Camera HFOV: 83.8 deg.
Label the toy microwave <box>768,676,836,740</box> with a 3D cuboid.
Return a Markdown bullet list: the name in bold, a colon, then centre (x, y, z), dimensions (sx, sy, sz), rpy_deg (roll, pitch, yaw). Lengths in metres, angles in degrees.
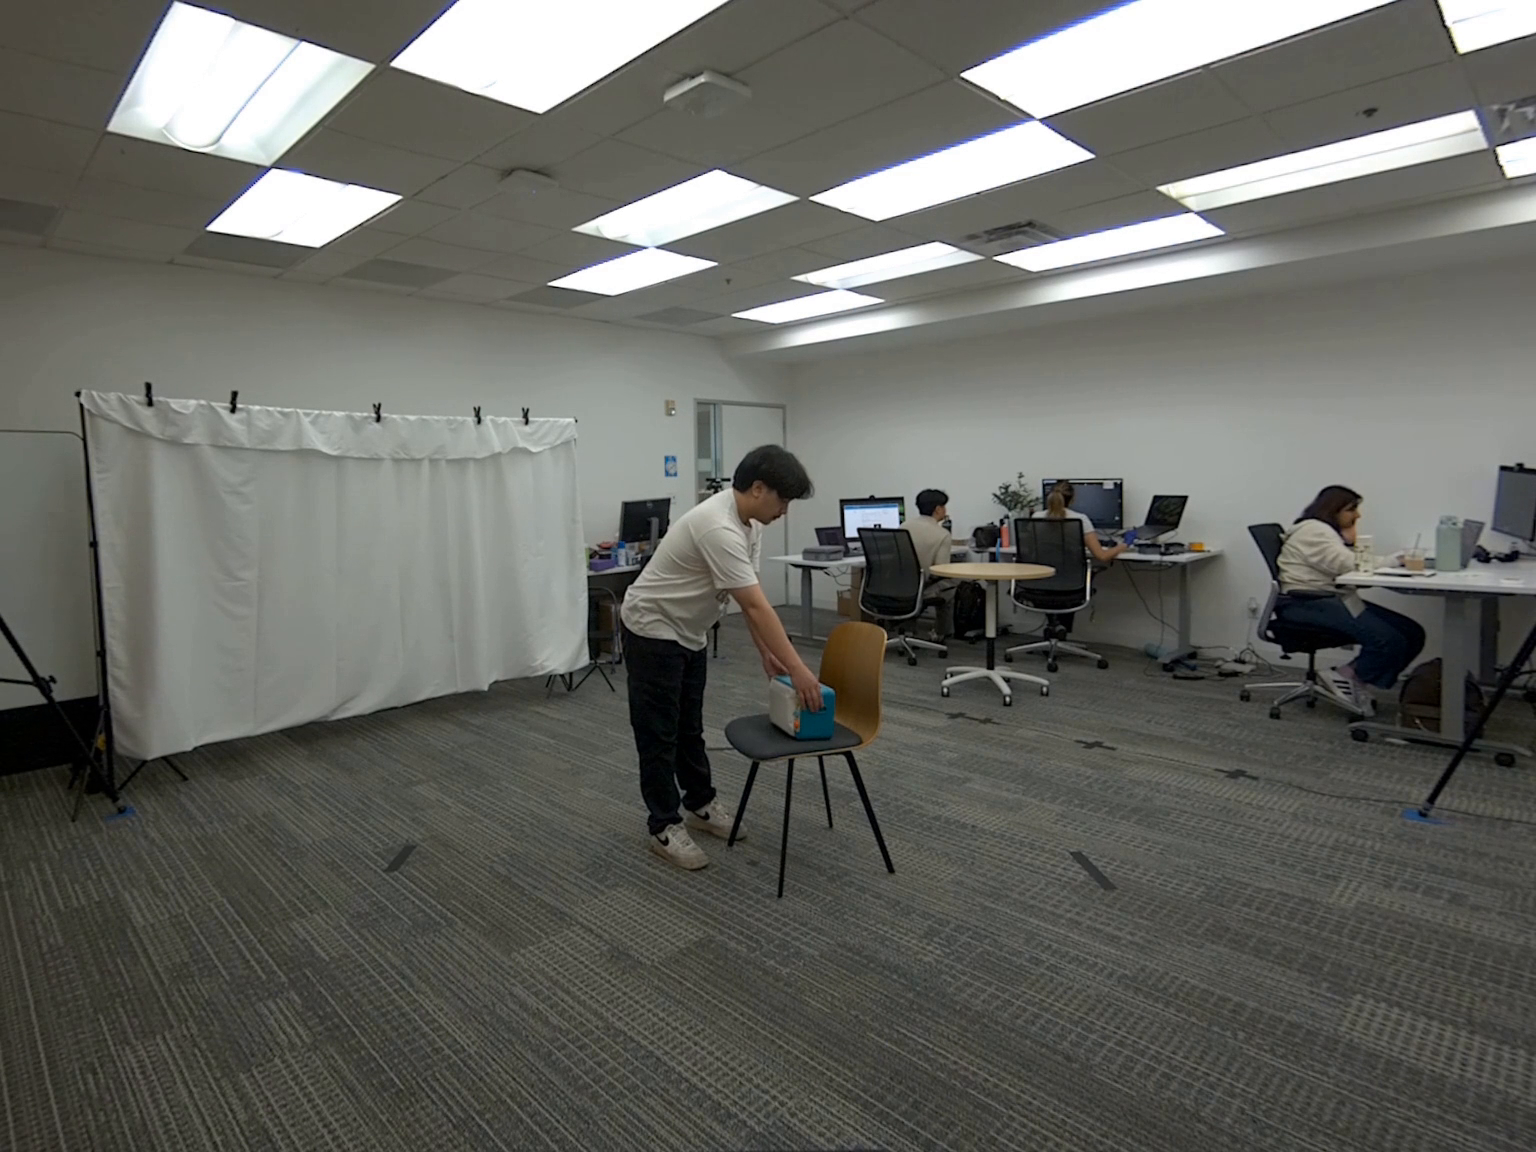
- **toy microwave**: centre (0.122, 0.474, 3.070), dimensions (0.150, 0.184, 0.292), rpy_deg (2, 4, -18)
